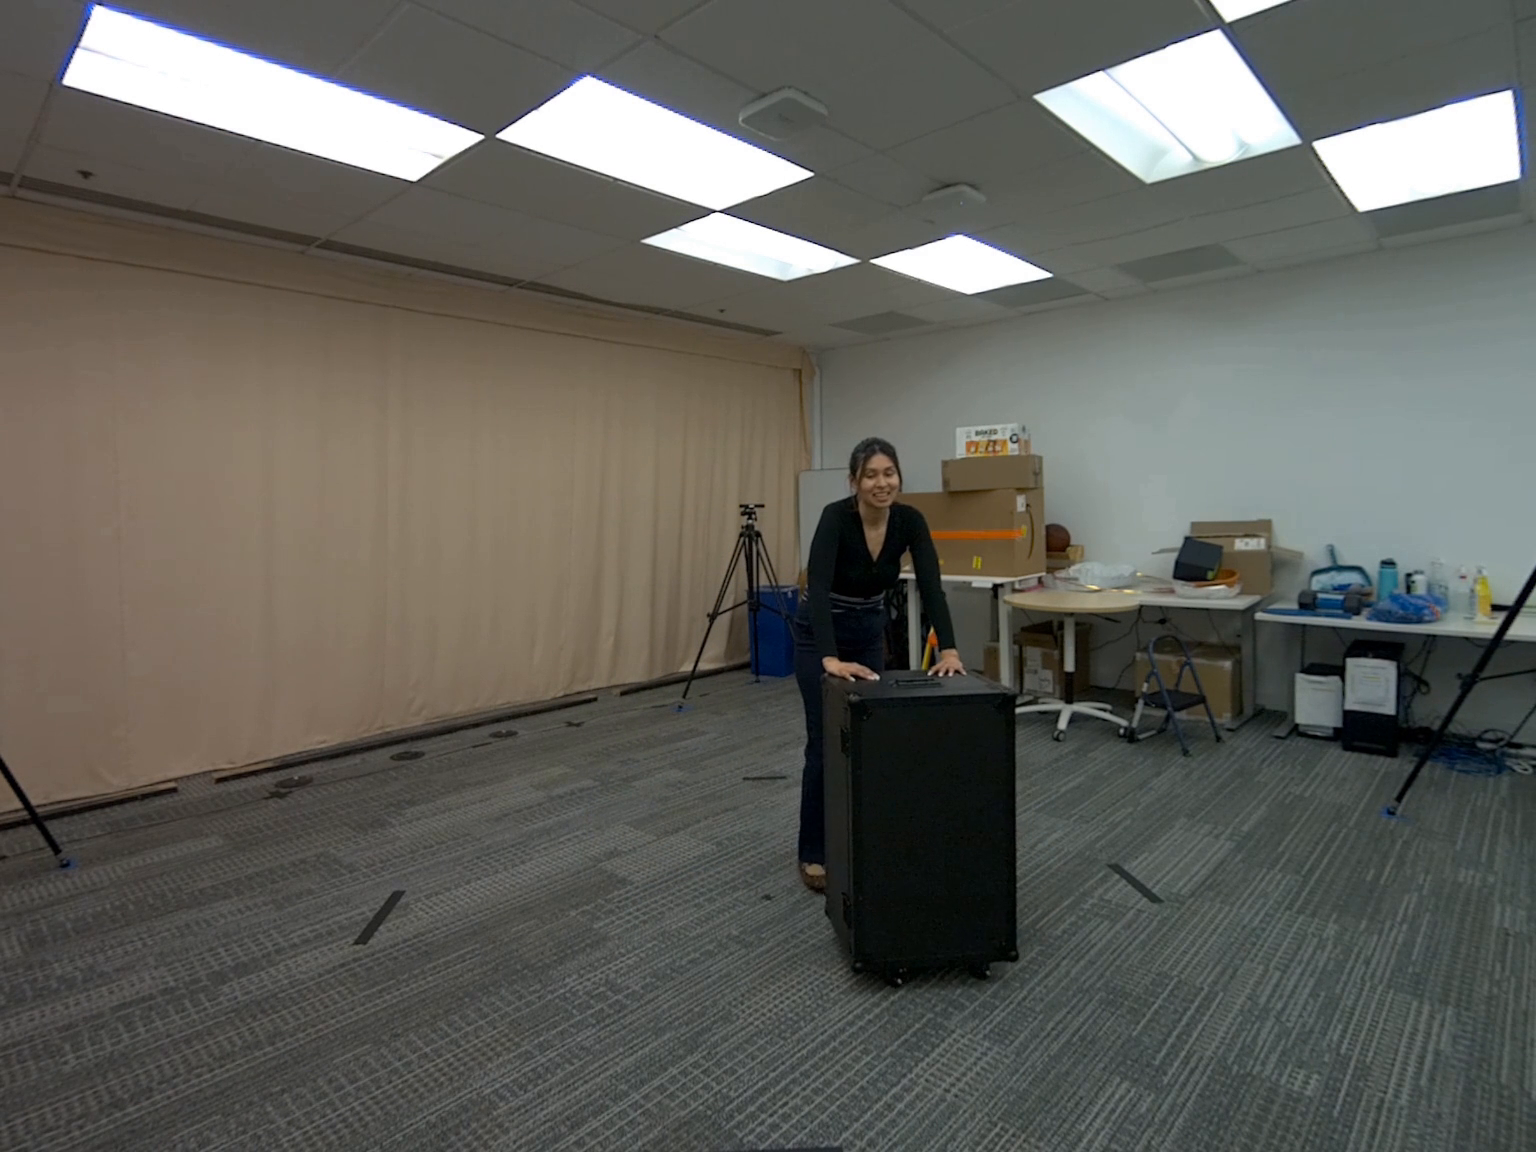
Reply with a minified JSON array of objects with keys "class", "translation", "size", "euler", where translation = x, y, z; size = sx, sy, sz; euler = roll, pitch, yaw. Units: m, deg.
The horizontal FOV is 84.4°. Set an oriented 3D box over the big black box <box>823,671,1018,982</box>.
[{"class":"big black box","translation":[0.447,0.742,2.559],"size":[0.518,0.860,0.400],"euler":[-2,3,-7]}]
